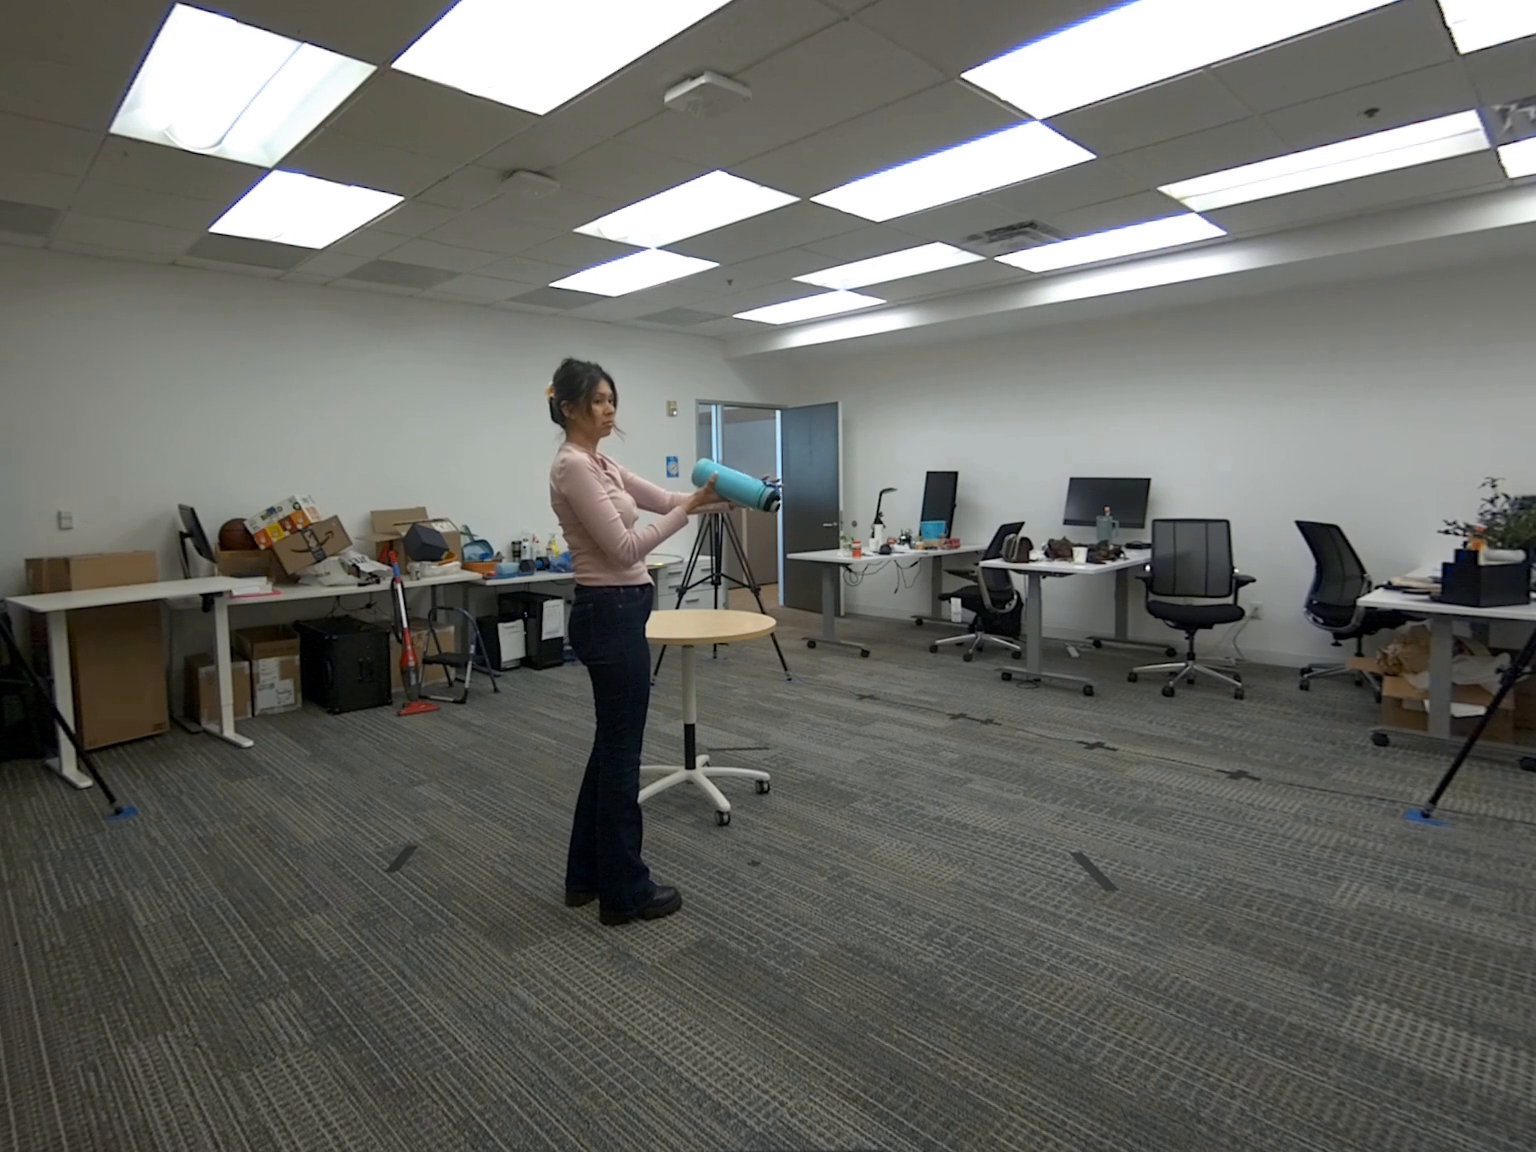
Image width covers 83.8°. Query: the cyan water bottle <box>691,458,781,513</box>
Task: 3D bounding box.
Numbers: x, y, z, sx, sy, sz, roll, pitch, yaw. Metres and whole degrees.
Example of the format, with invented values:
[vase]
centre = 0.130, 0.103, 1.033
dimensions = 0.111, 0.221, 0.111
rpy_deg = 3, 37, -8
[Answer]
[cyan water bottle]
centre = -0.097, -0.269, 2.600
dimensions = 0.290, 0.092, 0.091
rpy_deg = 22, 12, 19
